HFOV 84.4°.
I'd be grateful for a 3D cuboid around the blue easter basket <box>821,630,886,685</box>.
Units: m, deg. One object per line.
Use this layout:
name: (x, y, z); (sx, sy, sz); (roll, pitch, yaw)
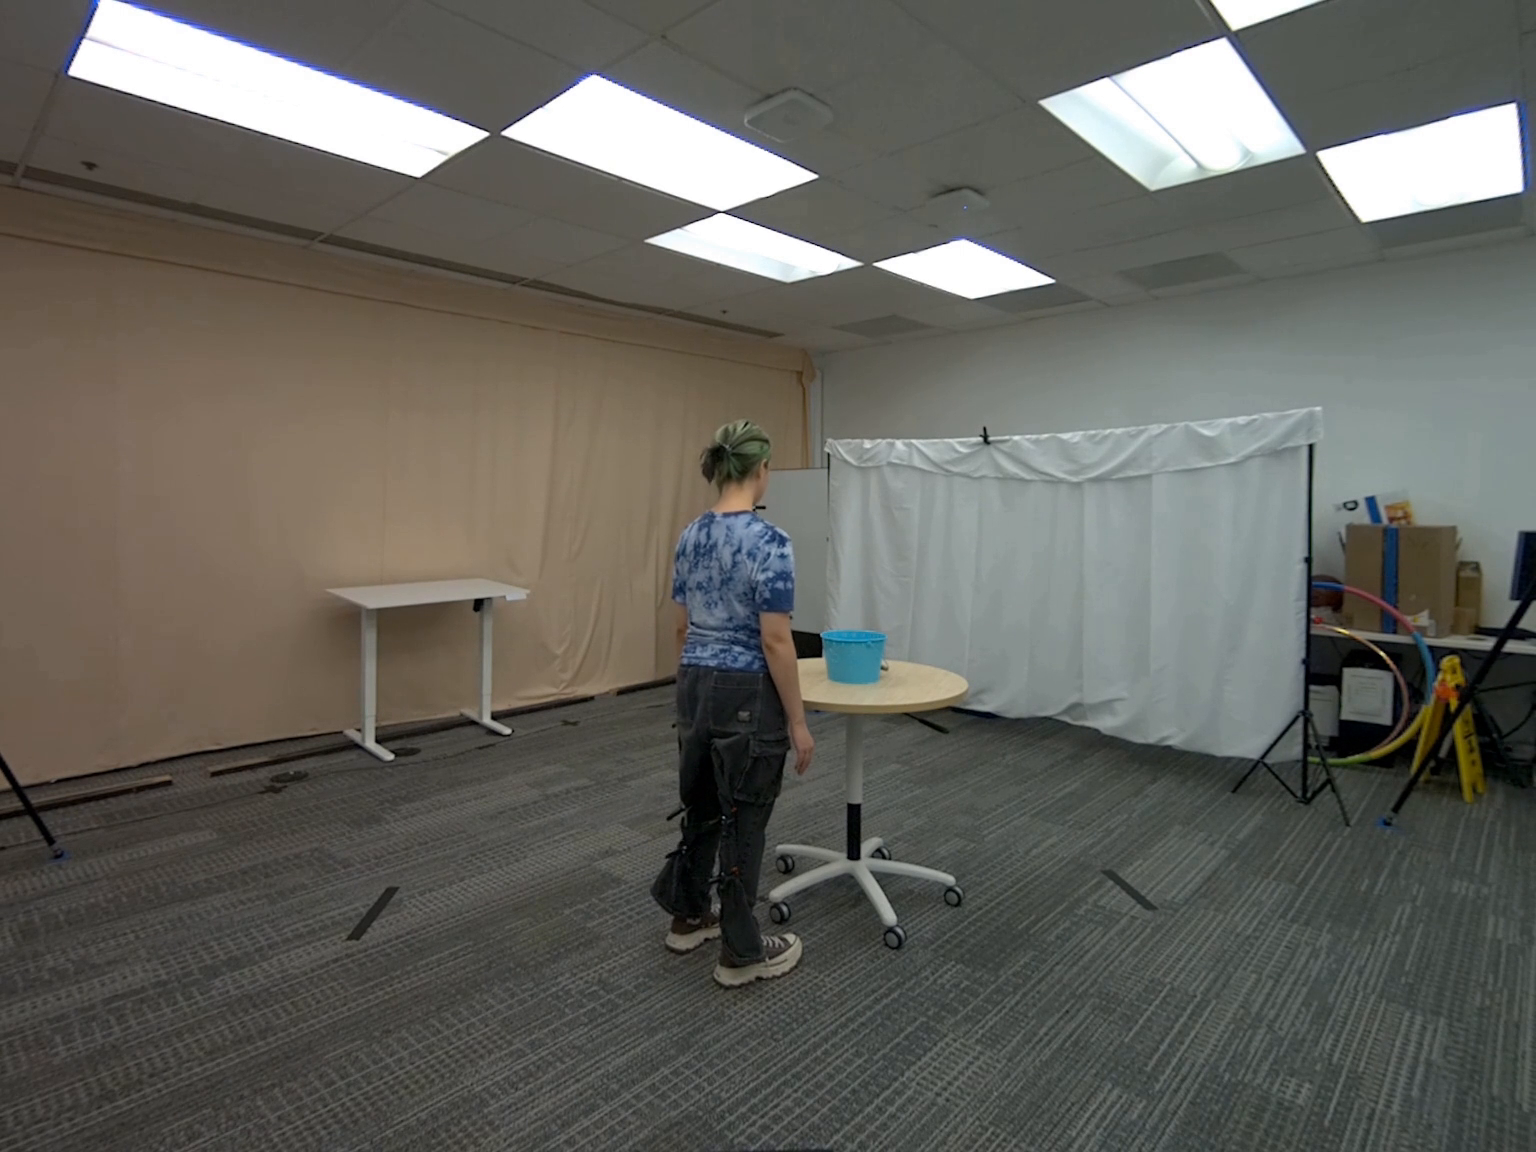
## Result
blue easter basket: (0.318, 0.289, 2.947); (0.243, 0.155, 0.244); (-1, 5, -2)
